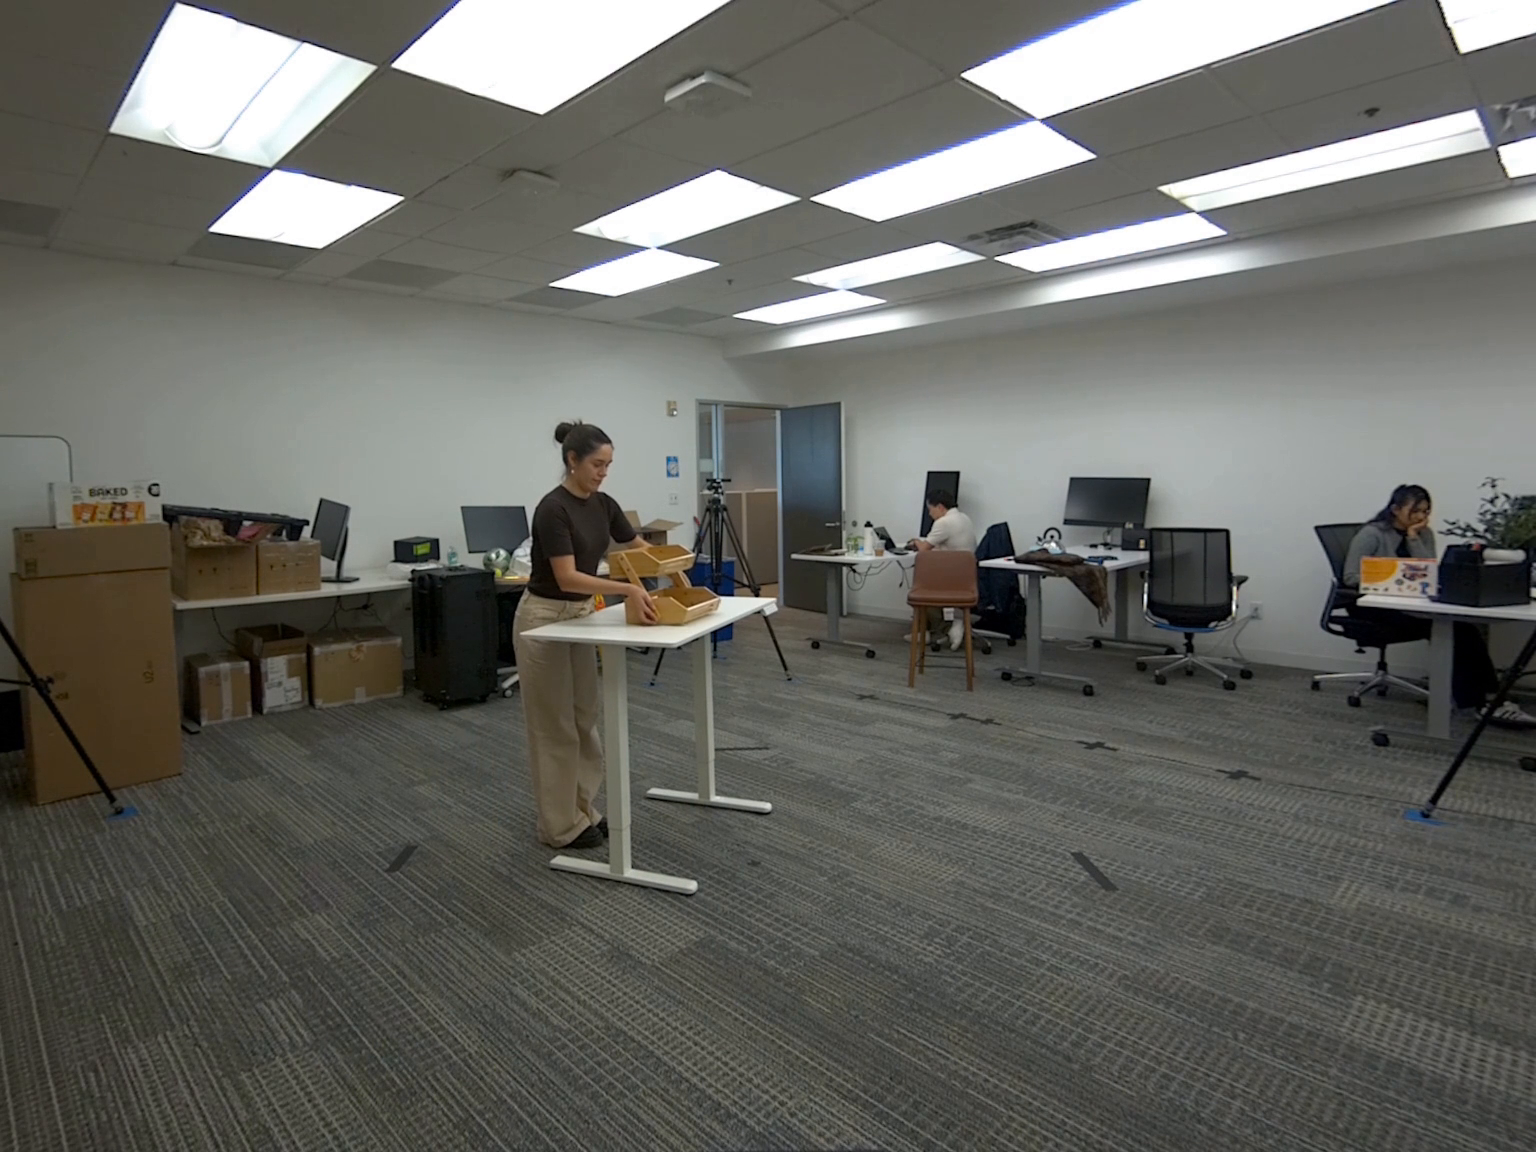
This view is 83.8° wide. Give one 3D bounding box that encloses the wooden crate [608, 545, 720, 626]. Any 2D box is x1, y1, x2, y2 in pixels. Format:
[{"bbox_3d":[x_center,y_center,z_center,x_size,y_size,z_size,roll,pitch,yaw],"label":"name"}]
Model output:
[{"bbox_3d":[-0.382,0.024,3.186,0.308,0.272,0.319,-3,4,21],"label":"wooden crate"}]
